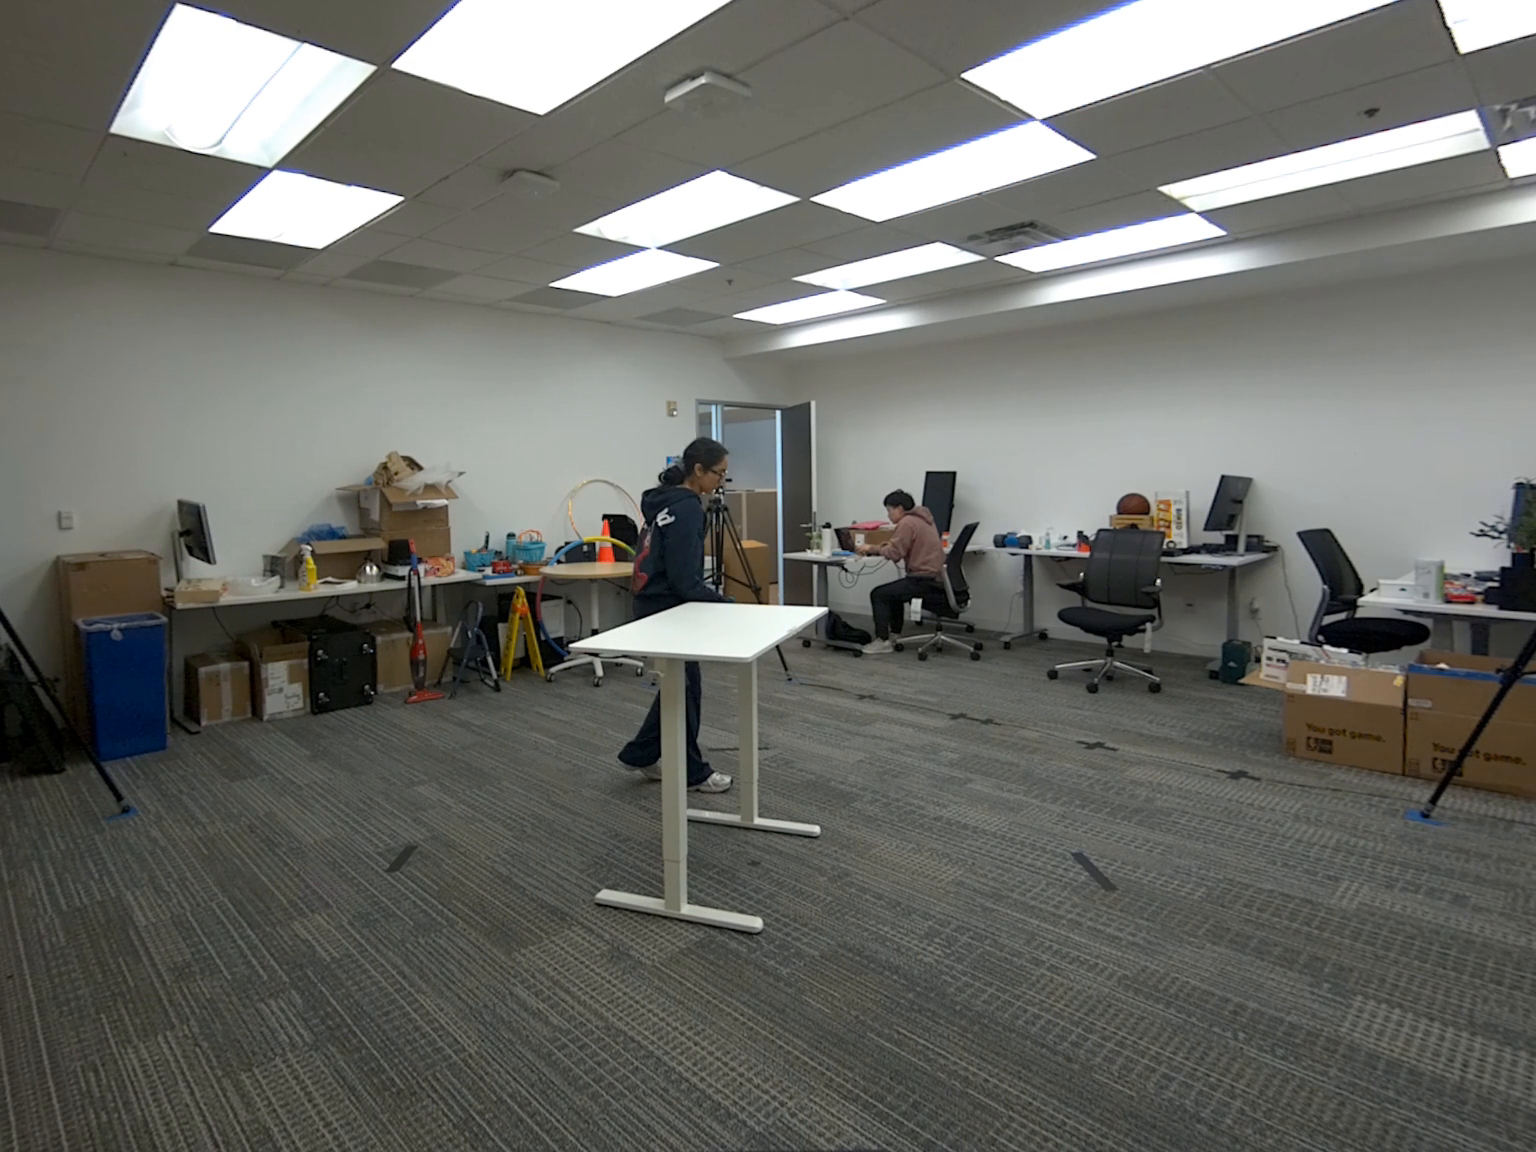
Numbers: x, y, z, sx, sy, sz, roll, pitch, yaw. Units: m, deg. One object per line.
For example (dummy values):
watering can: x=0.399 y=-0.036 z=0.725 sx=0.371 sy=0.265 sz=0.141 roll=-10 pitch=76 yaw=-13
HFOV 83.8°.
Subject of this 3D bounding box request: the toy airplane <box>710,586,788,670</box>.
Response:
toy airplane: x=-0.090 y=0.224 z=3.748 sx=0.252 sy=0.156 sz=0.258 roll=28 pitch=22 yaw=-23
